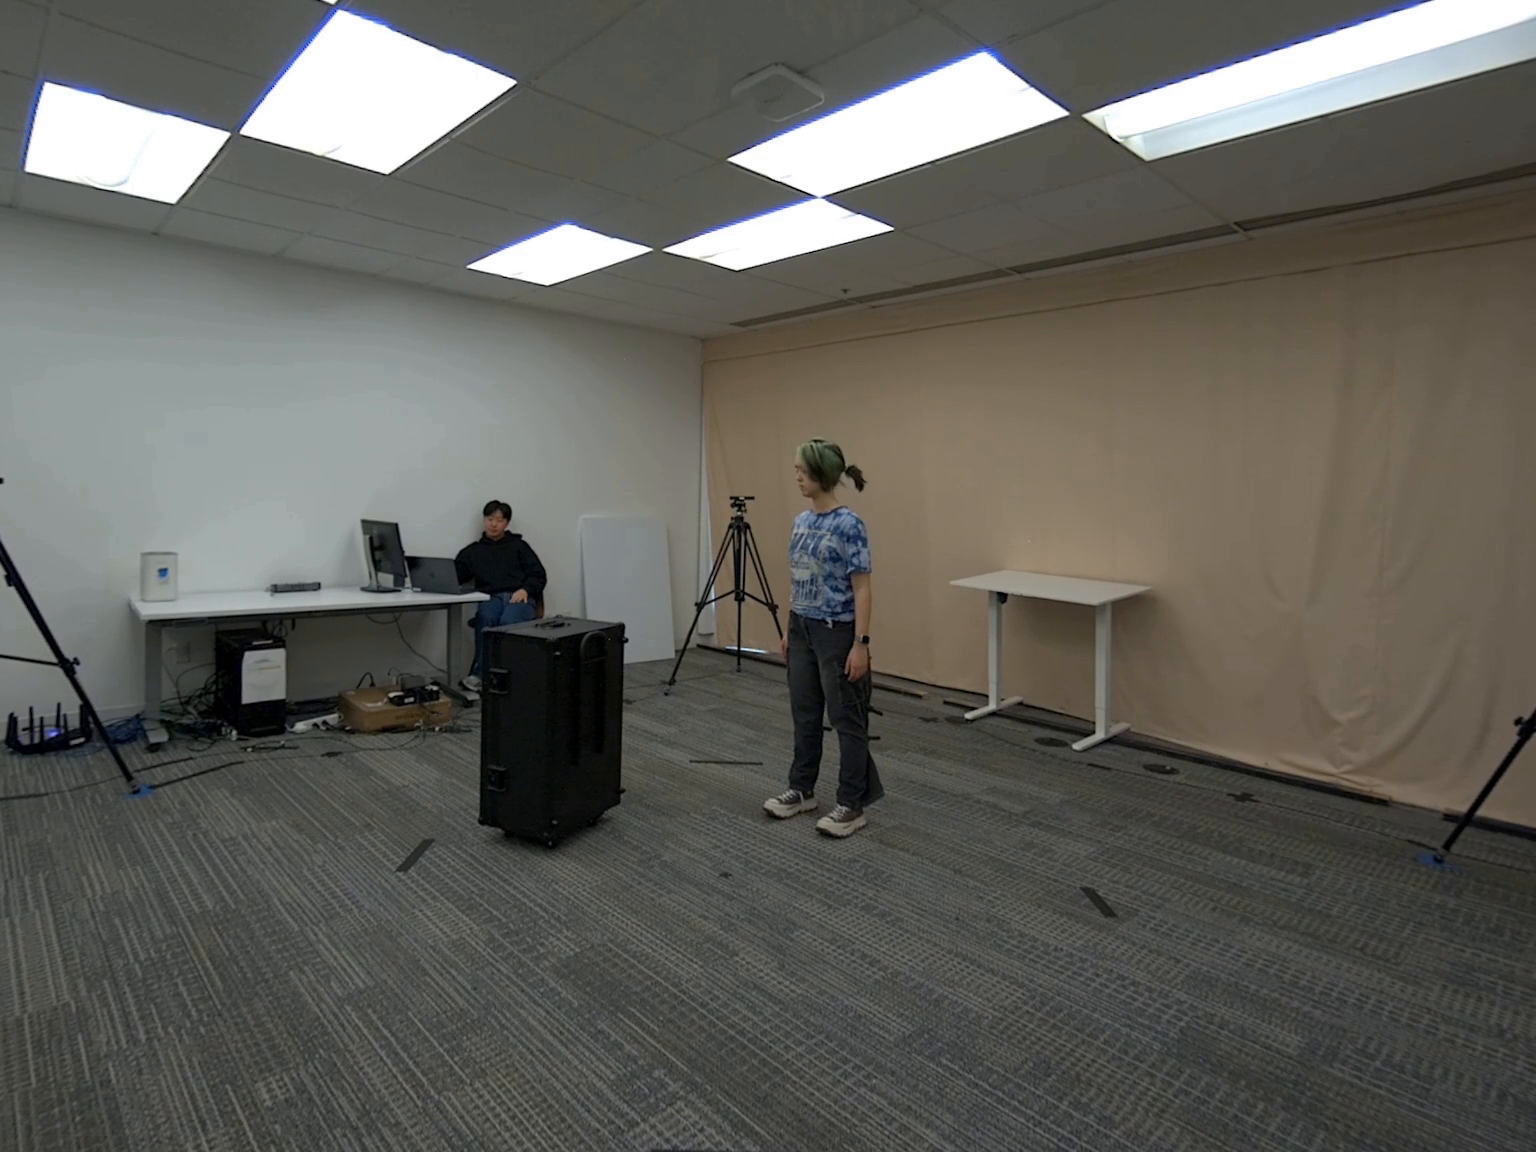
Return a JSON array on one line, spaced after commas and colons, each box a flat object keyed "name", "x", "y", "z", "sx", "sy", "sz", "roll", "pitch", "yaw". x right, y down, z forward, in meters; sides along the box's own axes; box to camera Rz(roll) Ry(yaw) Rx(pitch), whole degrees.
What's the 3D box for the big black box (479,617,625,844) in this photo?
[{"name": "big black box", "x": -0.875, "y": 0.631, "z": 3.466, "sx": 0.404, "sy": 0.859, "sz": 0.512, "roll": 4, "pitch": 4, "yaw": 26}]
